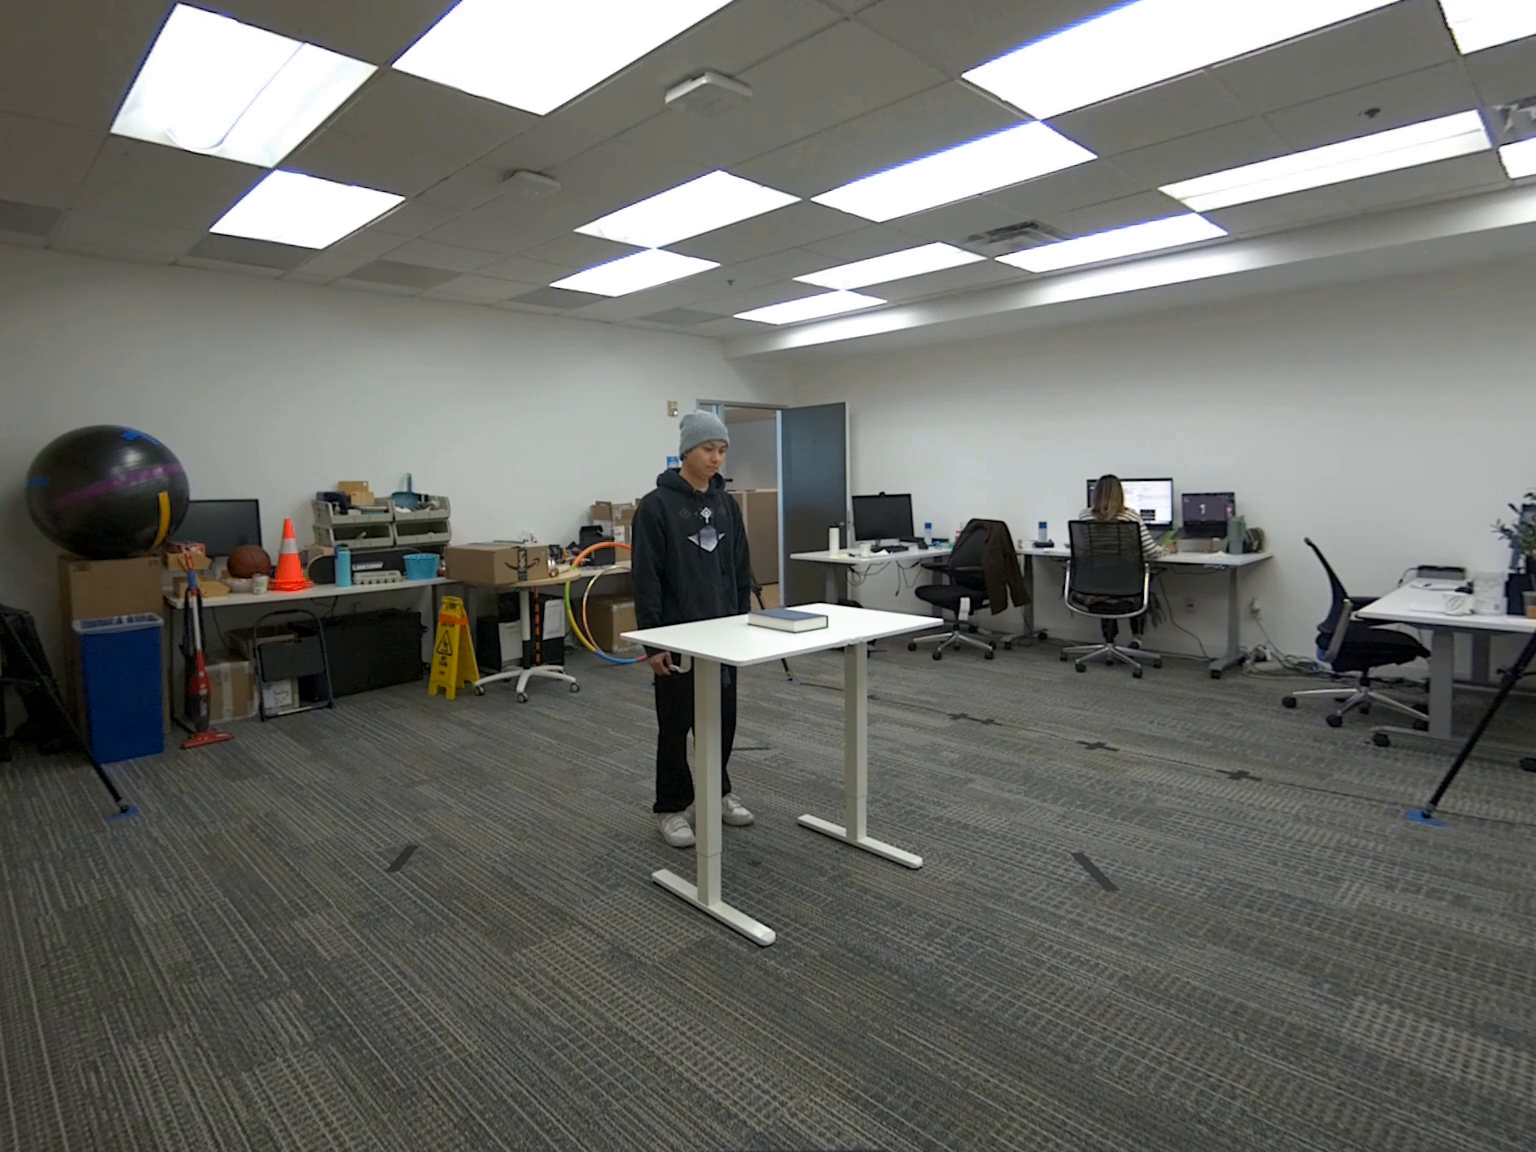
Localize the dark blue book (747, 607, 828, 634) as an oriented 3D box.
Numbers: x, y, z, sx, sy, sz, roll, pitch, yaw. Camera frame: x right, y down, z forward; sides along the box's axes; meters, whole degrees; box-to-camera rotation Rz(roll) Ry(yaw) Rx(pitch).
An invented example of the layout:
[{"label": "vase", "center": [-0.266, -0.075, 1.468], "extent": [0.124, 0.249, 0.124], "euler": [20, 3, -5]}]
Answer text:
[{"label": "dark blue book", "center": [0.075, 0.156, 2.971], "extent": [0.159, 0.045, 0.253], "euler": [-6, 8, -41]}]
